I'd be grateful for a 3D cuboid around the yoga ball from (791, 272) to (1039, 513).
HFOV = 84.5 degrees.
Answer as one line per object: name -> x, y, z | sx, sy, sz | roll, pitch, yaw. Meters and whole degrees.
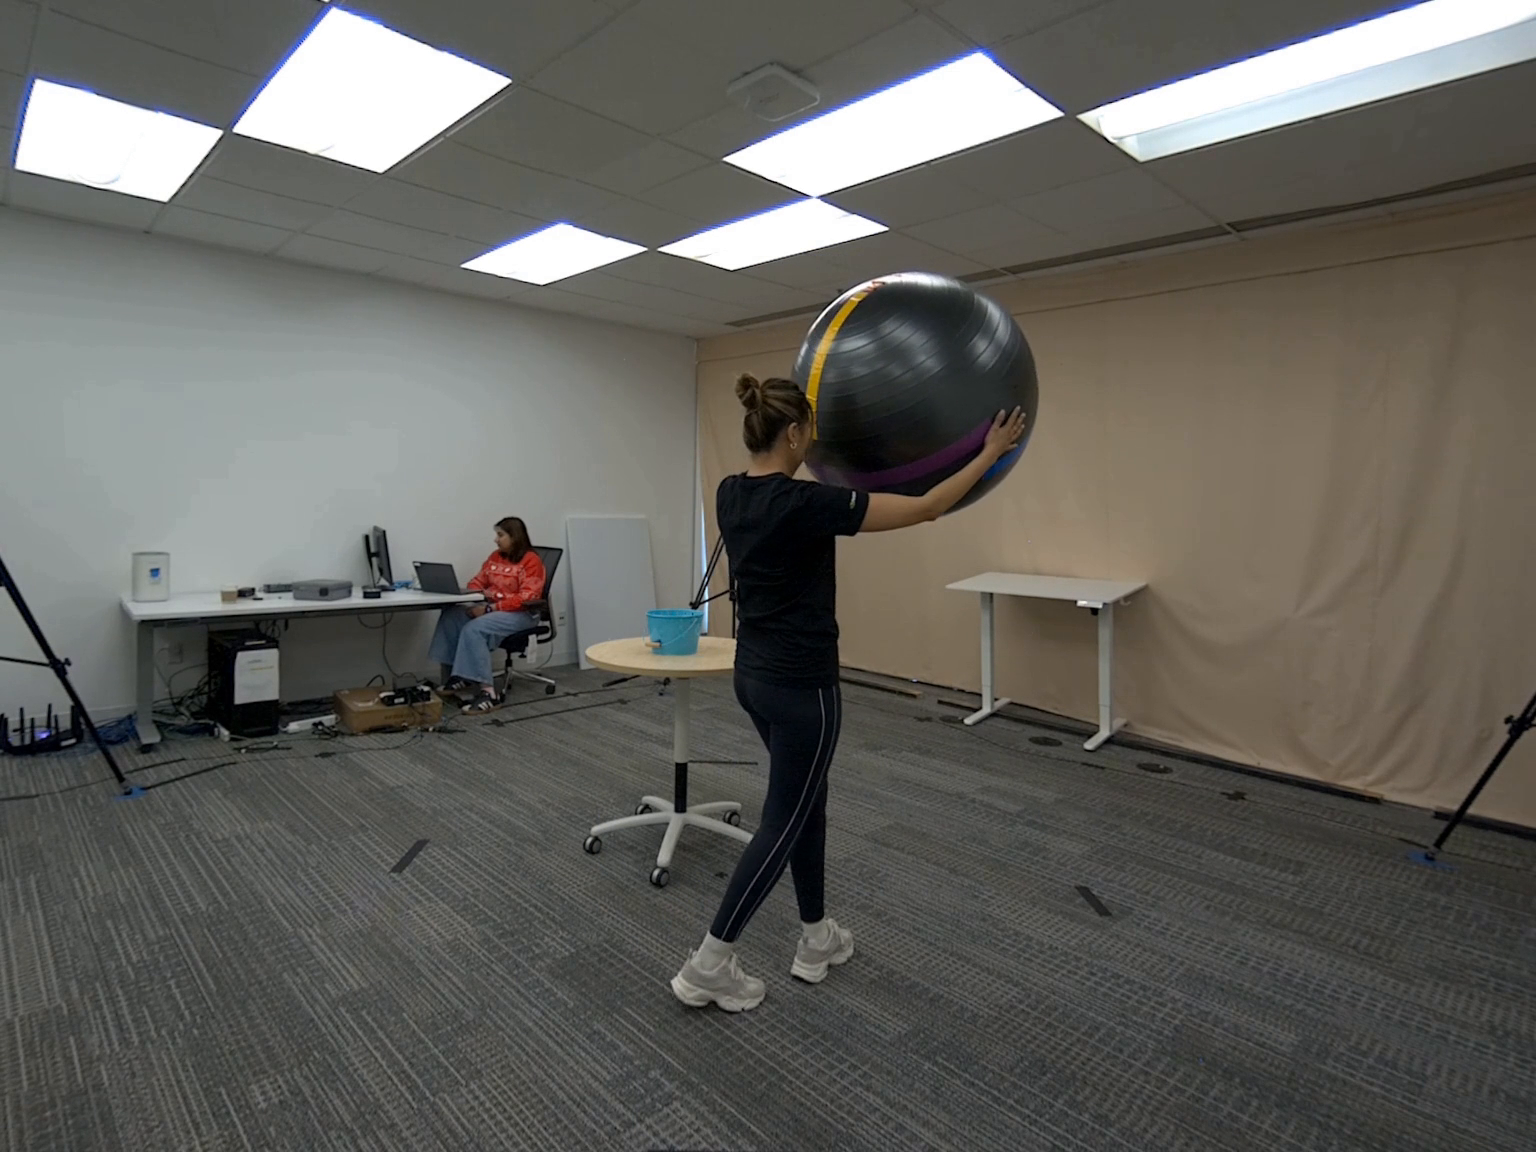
yoga ball -> 0.440, -0.543, 2.613 | 0.757, 0.756, 0.761 | 1, 4, -1
